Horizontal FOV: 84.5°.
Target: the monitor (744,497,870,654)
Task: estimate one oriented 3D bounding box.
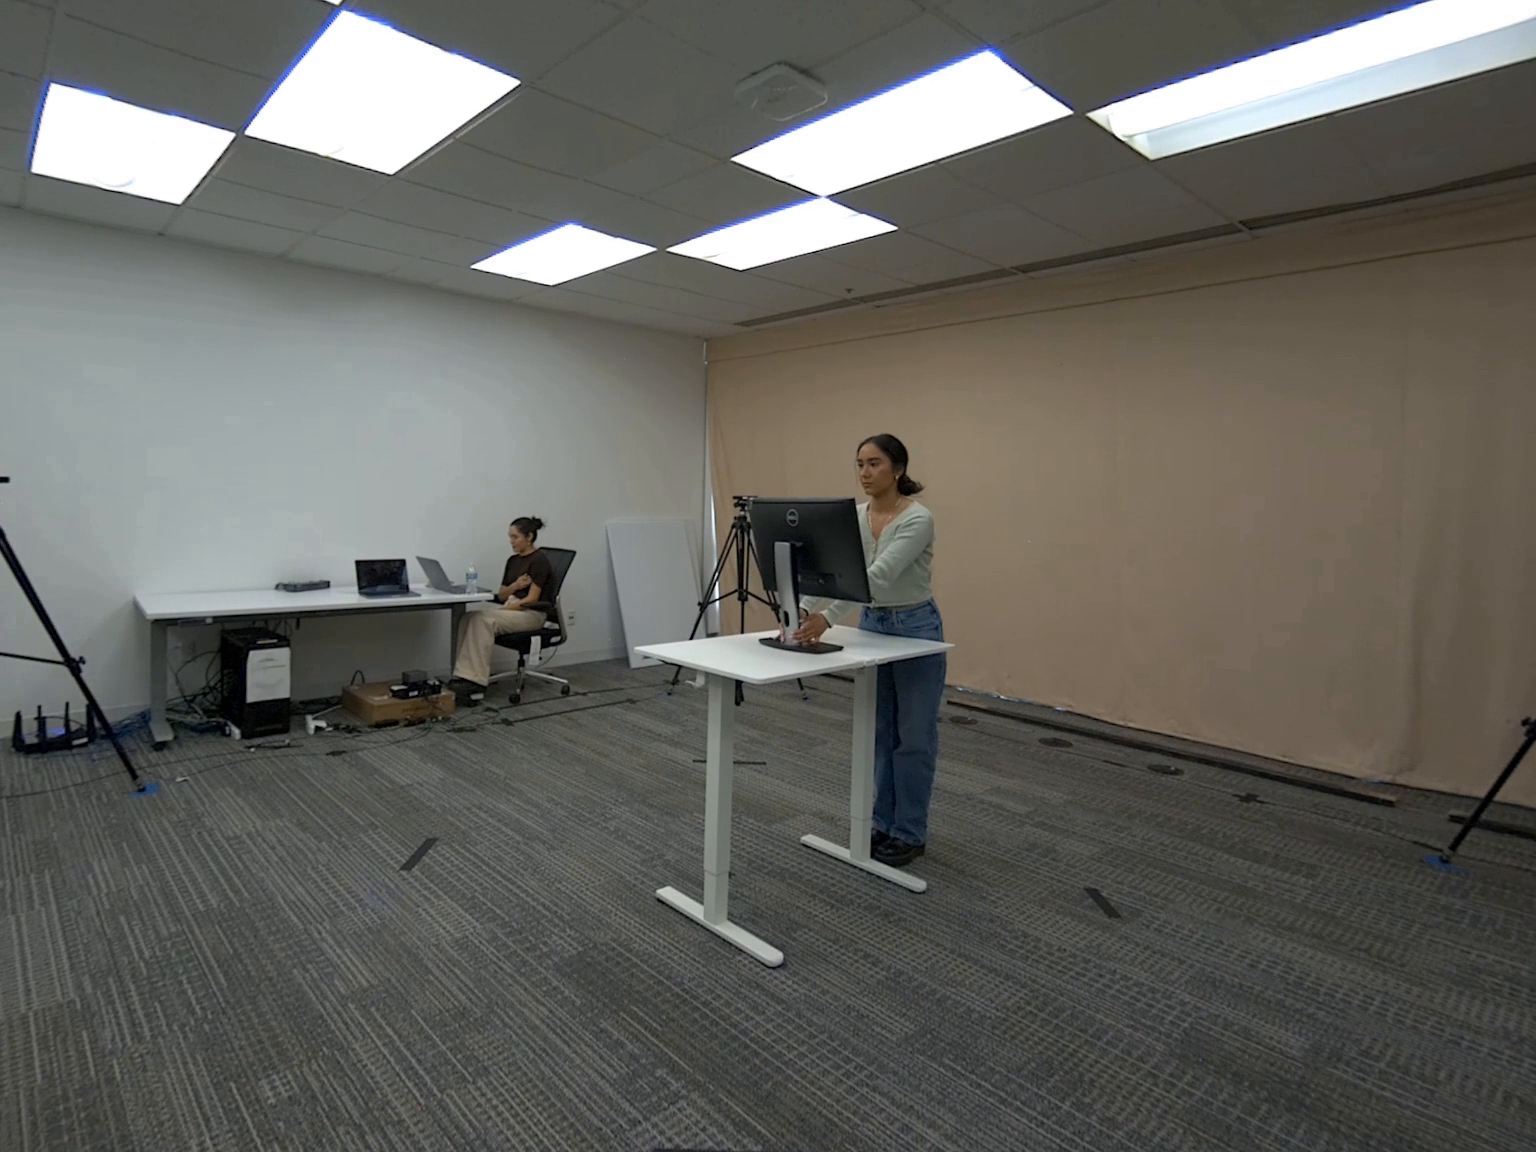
[{"bbox_3d":[0.093,-0.006,2.882,0.183,0.521,0.553,-2,5,-40],"label":"monitor"}]
